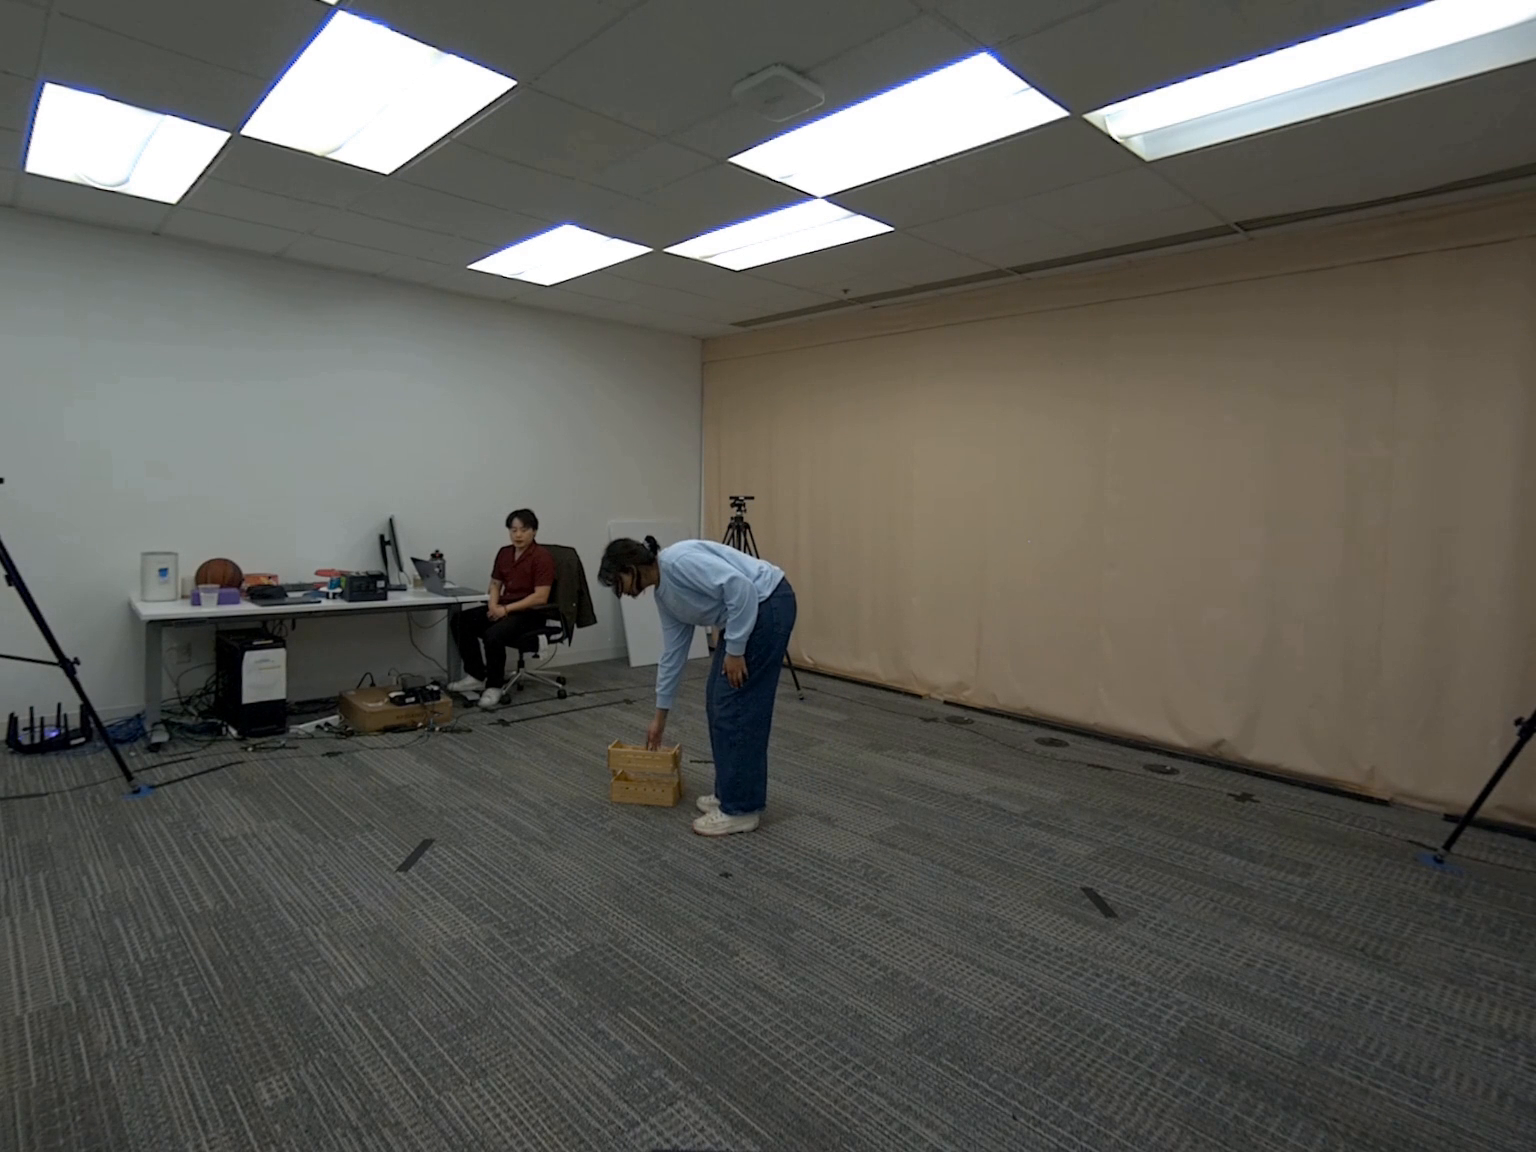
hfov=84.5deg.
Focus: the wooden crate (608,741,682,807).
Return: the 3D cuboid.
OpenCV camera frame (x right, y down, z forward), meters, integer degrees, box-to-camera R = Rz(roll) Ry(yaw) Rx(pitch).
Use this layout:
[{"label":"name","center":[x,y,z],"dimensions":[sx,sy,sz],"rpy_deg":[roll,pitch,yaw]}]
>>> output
[{"label":"wooden crate","center":[-0.565,0.890,3.906],"dimensions":[0.327,0.272,0.301],"rpy_deg":[2,5,8]}]
